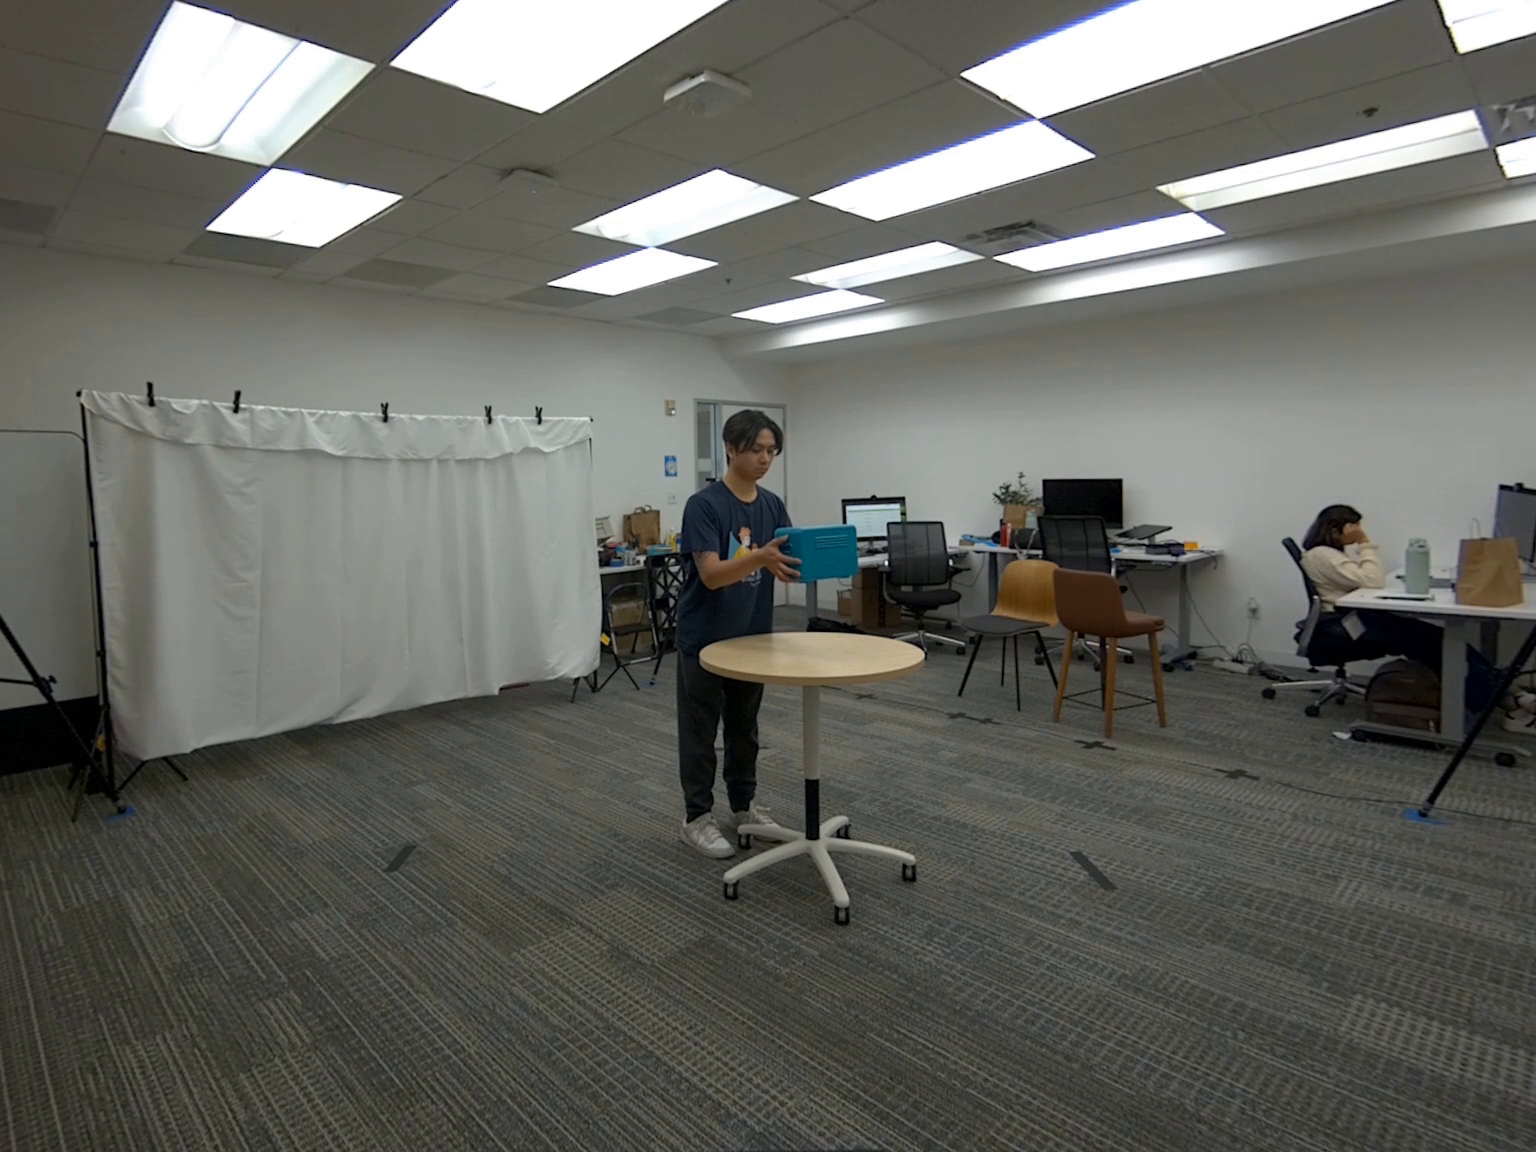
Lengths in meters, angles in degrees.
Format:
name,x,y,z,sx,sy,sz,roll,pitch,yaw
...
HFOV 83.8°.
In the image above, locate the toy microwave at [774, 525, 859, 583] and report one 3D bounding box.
name,x,y,z,sx,sy,sz,roll,pitch,yaw
toy microwave,0.166,-0.078,2.912,0.278,0.183,0.157,-5,5,-41
